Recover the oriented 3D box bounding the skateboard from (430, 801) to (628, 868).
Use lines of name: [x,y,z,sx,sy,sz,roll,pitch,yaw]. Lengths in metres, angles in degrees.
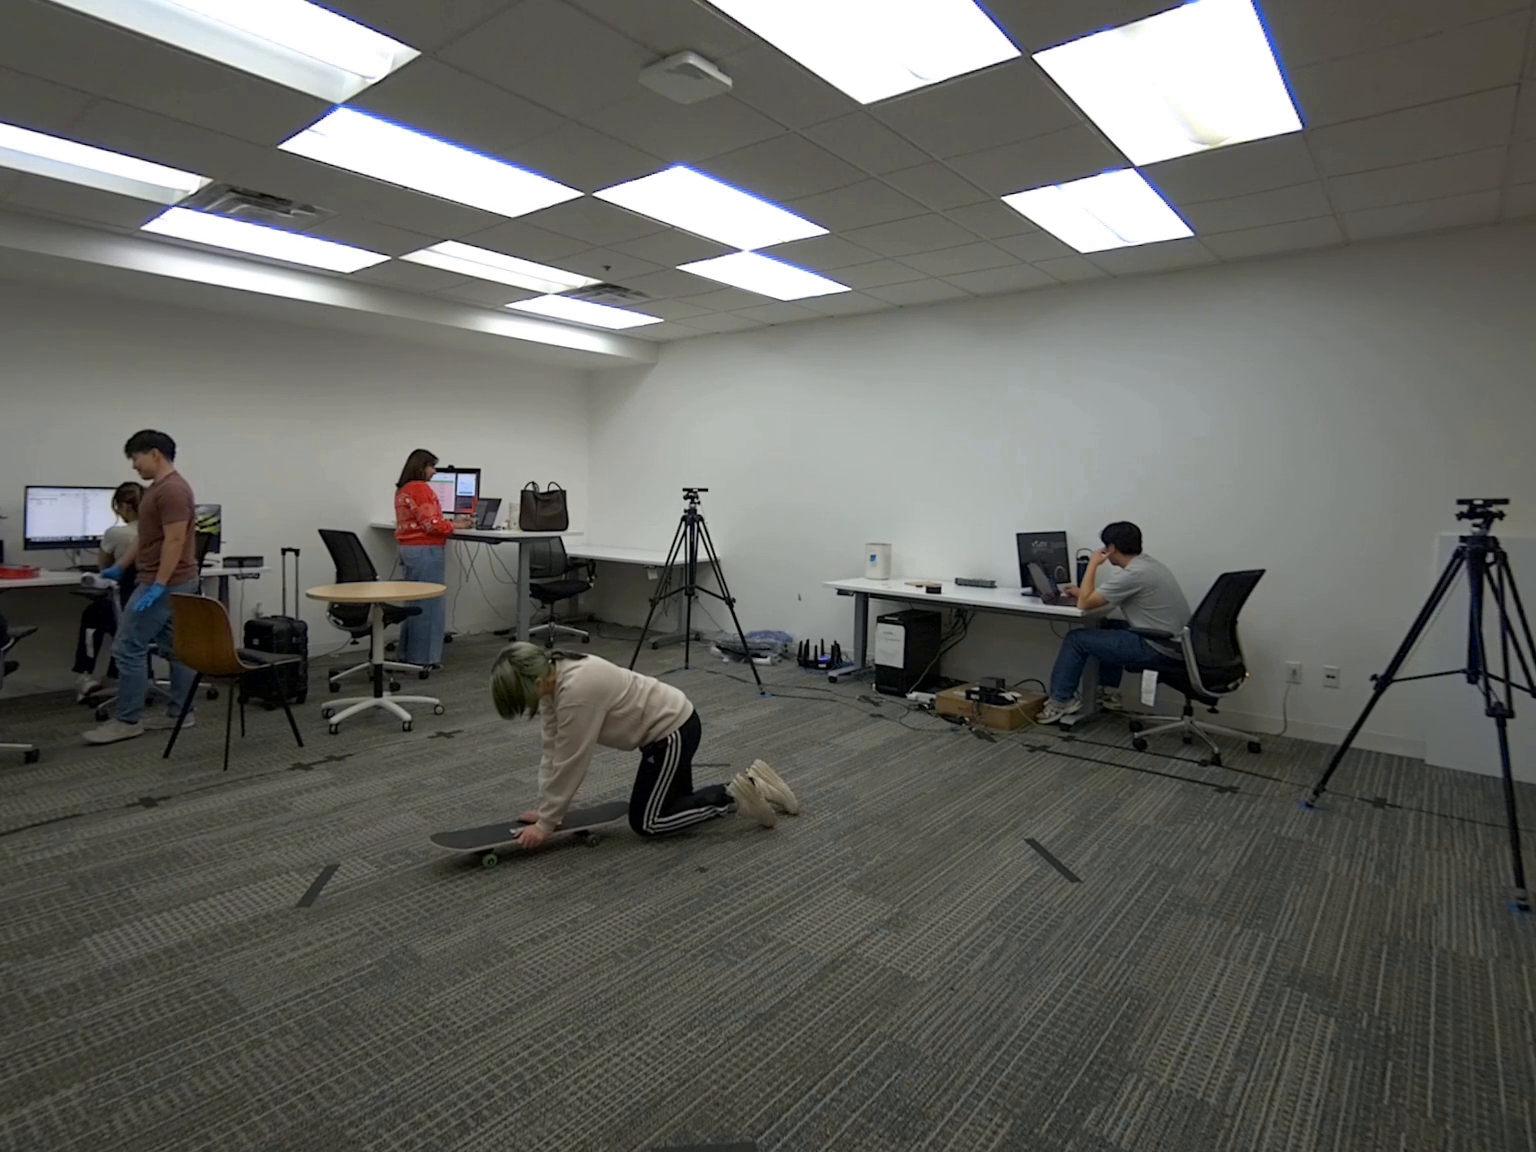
skateboard: [-0.902,0.992,3.258,0.764,0.110,0.199,-2,5,-30]
